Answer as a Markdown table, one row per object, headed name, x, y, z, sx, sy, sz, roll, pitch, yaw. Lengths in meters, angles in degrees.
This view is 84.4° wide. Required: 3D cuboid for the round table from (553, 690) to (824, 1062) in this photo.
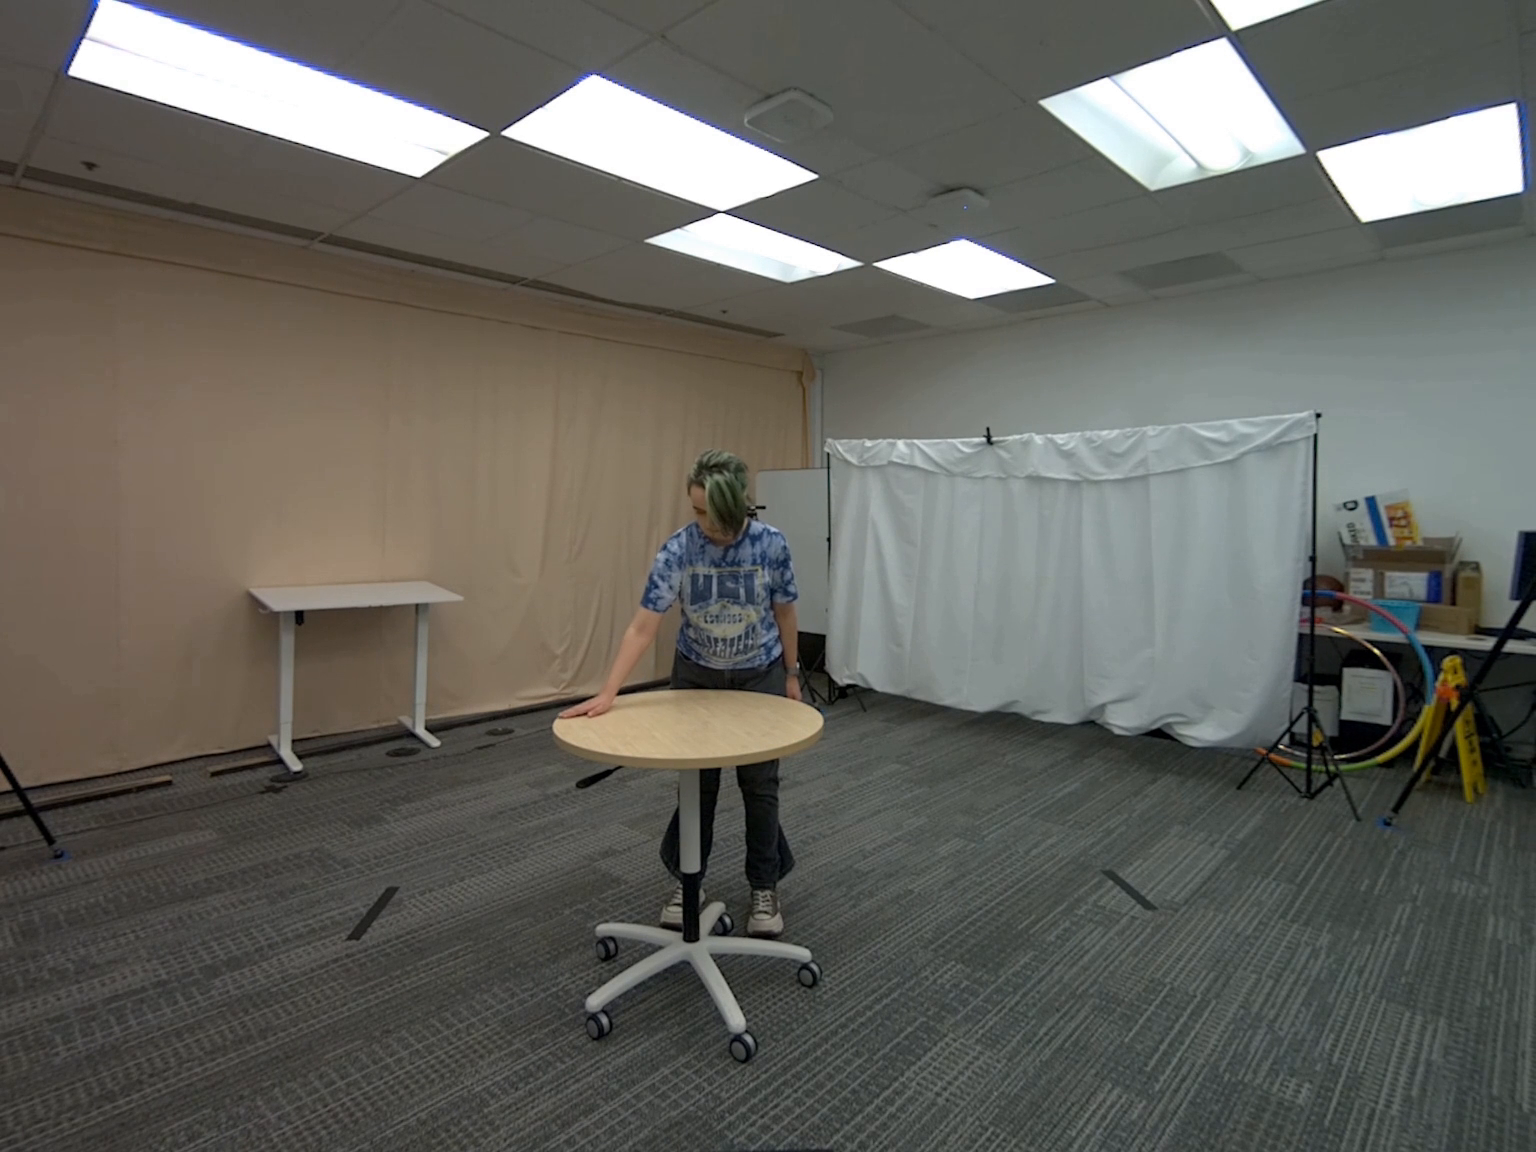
| name | x | y | z | sx | sy | sz | roll | pitch | yaw |
| --- | --- | --- | --- | --- | --- | --- | --- | --- | --- |
| round table | -0.231 | 0.795 | 2.433 | 0.784 | 0.785 | 0.788 | 0 | 4 | -2 |
